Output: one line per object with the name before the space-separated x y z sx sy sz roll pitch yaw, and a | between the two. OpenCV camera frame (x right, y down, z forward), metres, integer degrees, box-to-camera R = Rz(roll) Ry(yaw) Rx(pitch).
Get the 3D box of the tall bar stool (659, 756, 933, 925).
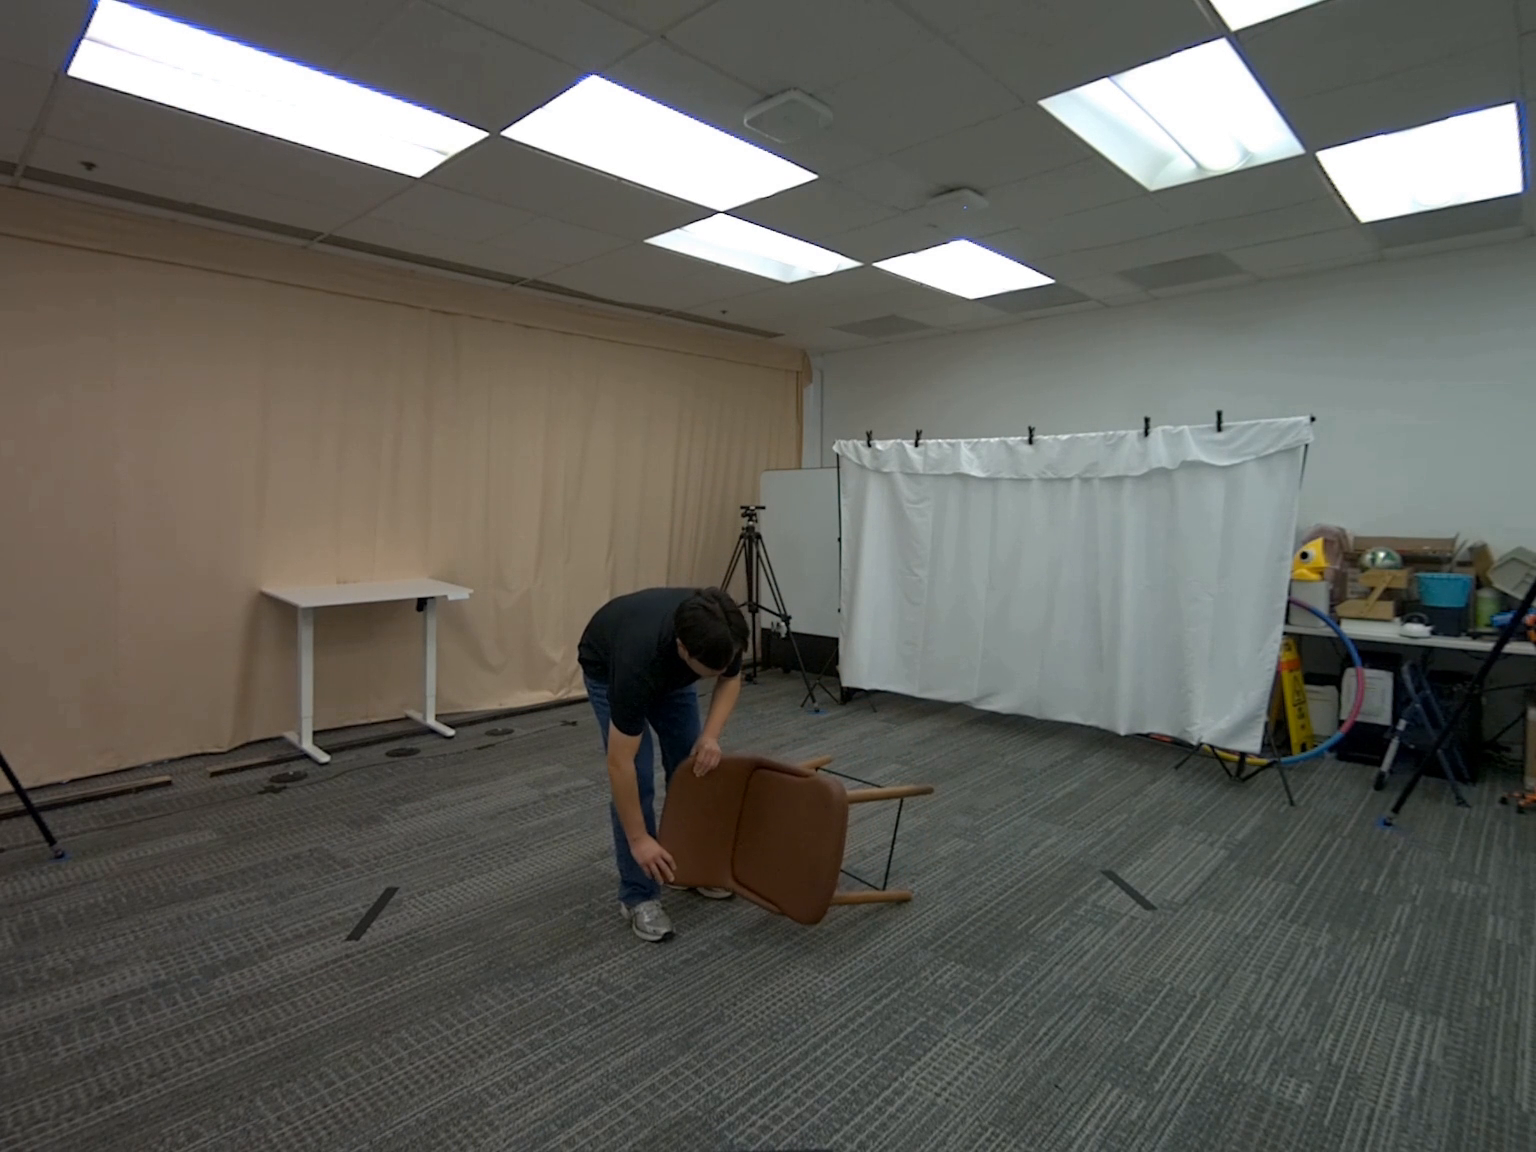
tall bar stool | 0.122 0.851 2.804 0.484 0.457 0.858 12 -2 39
